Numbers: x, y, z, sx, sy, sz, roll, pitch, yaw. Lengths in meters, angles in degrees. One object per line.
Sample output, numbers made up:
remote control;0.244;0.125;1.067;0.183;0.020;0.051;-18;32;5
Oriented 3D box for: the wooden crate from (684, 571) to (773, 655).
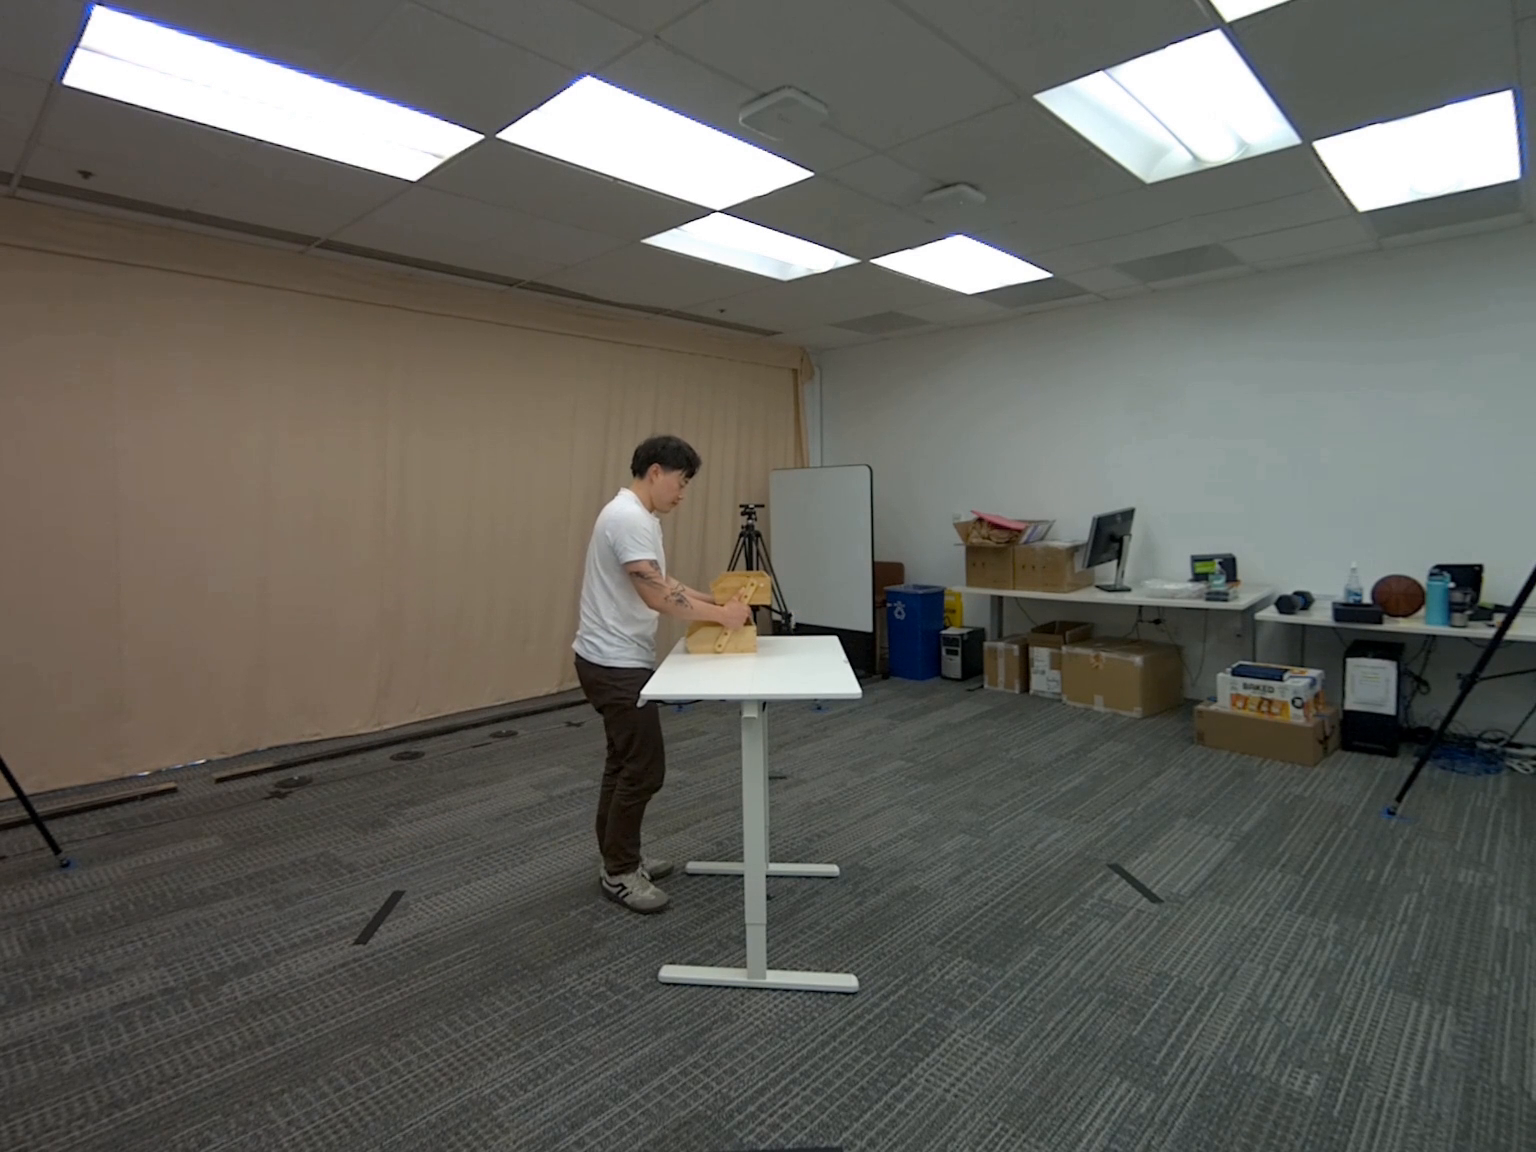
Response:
wooden crate;-0.153;0.127;3.031;0.302;0.273;0.326;0;4;-2
